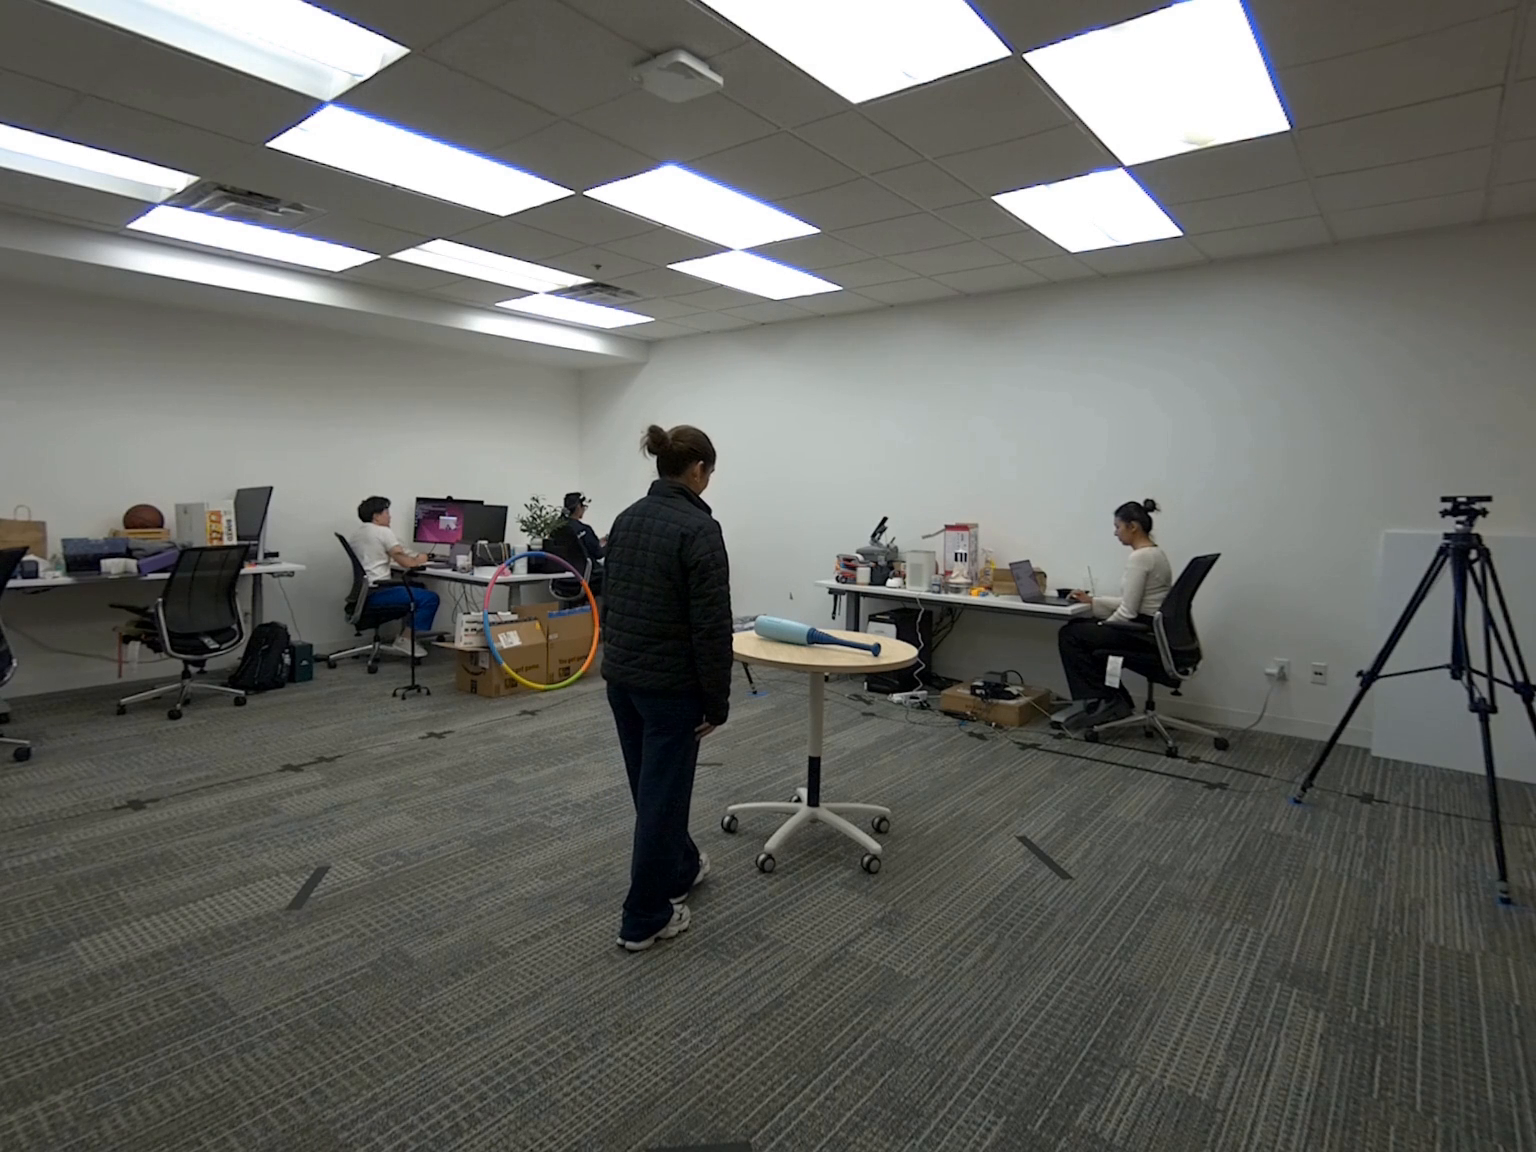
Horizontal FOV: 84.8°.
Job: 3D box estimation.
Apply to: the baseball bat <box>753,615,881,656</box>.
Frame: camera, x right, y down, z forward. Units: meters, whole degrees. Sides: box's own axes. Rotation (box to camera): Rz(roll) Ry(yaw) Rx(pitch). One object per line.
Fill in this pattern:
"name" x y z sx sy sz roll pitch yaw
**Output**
"baseball bat" 0.204 0.233 3.309 0.561 0.088 0.086 10 8 34
